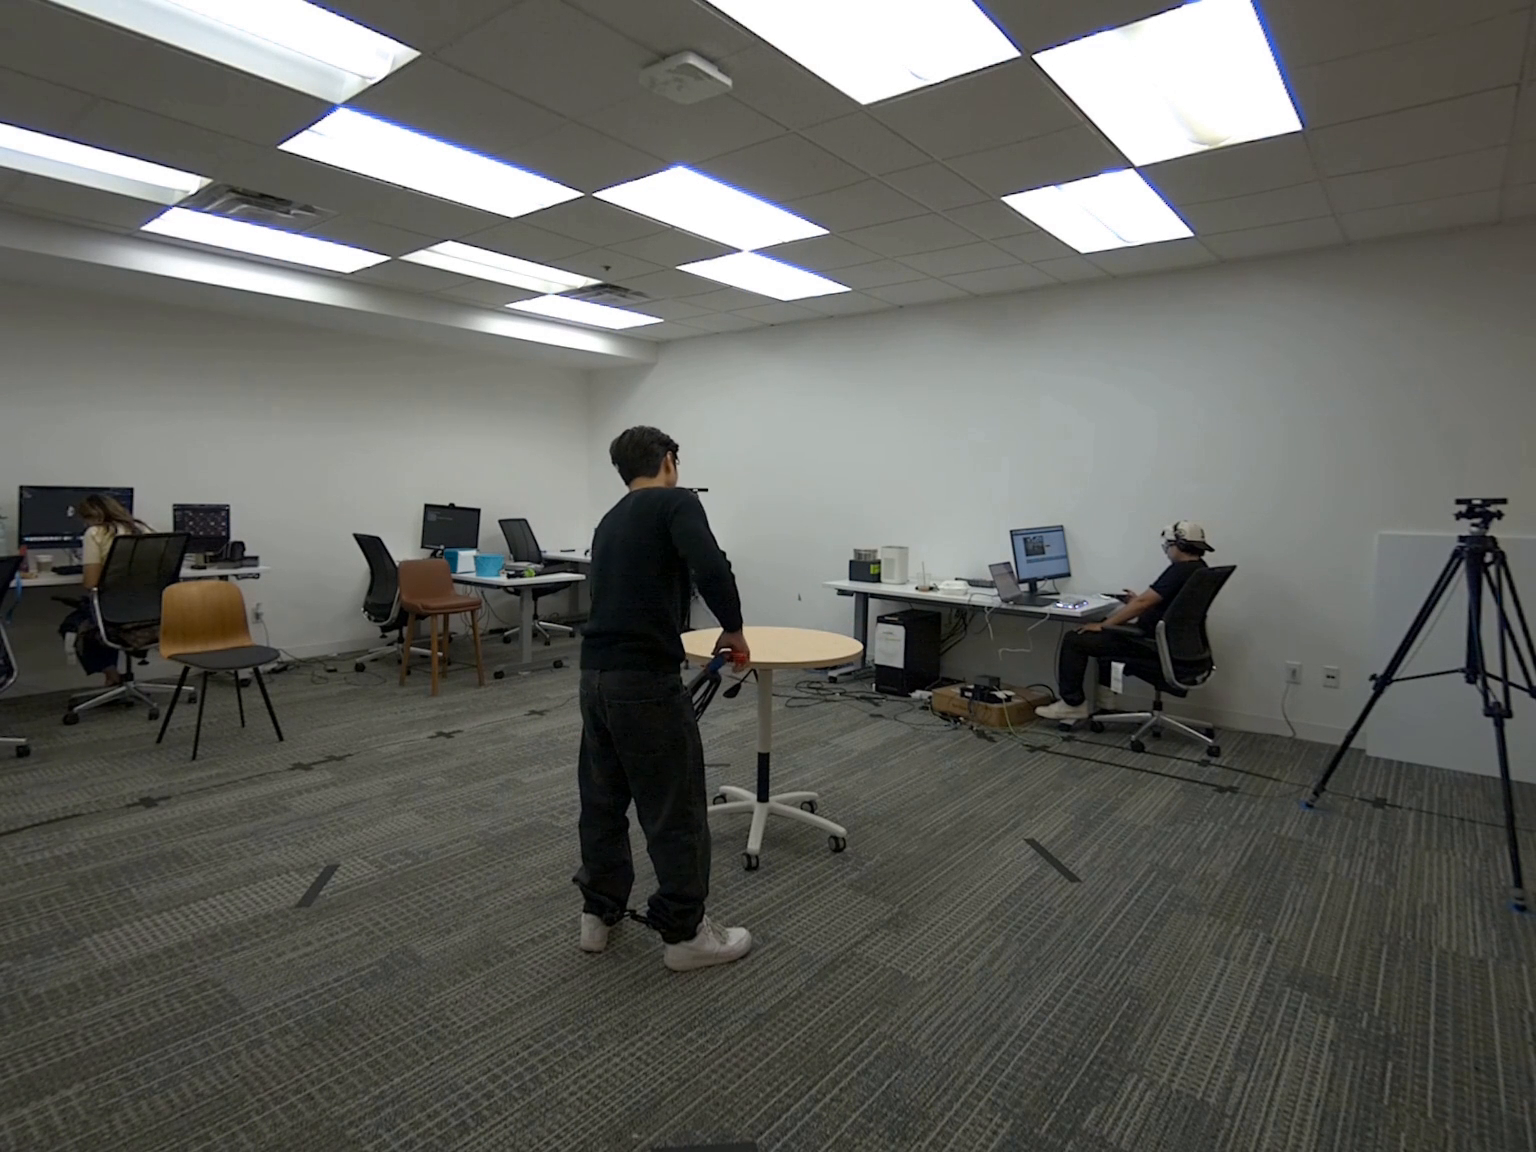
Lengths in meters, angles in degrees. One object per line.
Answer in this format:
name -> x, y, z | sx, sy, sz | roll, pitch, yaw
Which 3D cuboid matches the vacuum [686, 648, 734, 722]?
vacuum -> -0.312, 0.462, 2.763 | 0.246, 0.147, 1.051 | 17, -34, -24
